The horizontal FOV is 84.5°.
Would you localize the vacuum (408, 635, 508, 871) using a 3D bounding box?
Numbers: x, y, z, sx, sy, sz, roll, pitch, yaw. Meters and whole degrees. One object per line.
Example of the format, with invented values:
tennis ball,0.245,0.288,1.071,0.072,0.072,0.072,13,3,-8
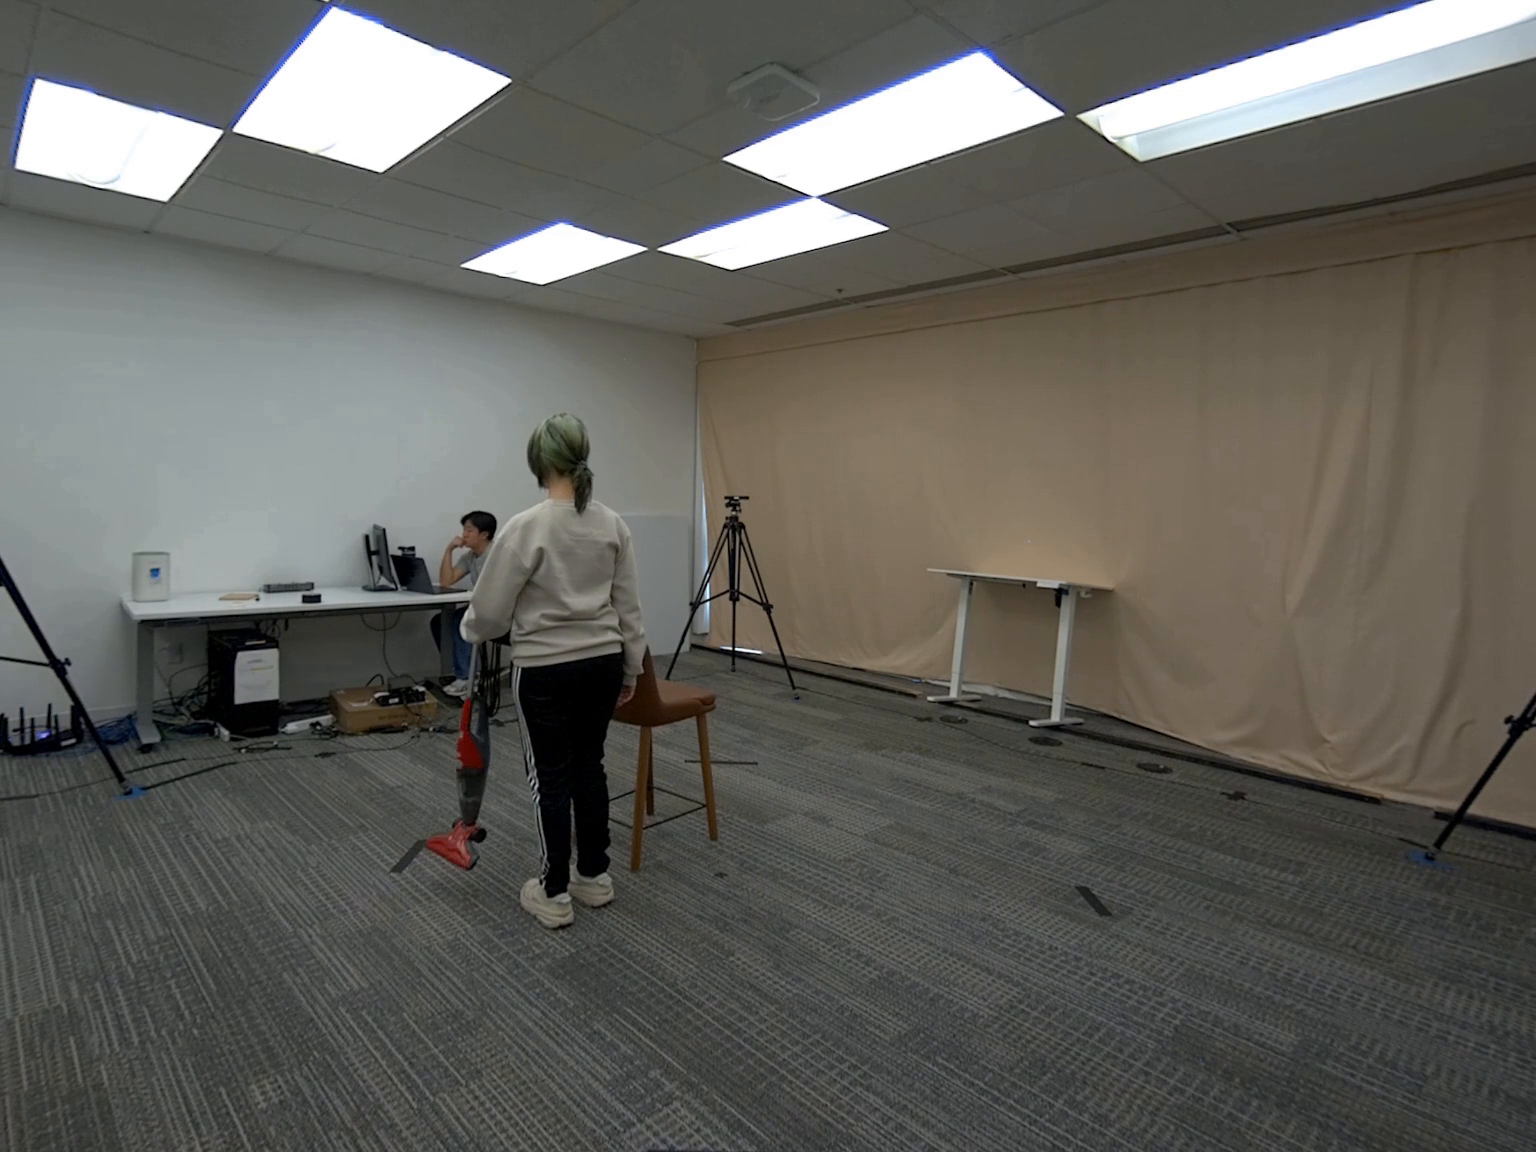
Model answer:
vacuum,-1.021,0.424,2.938,0.258,1.050,0.140,6,-1,33
